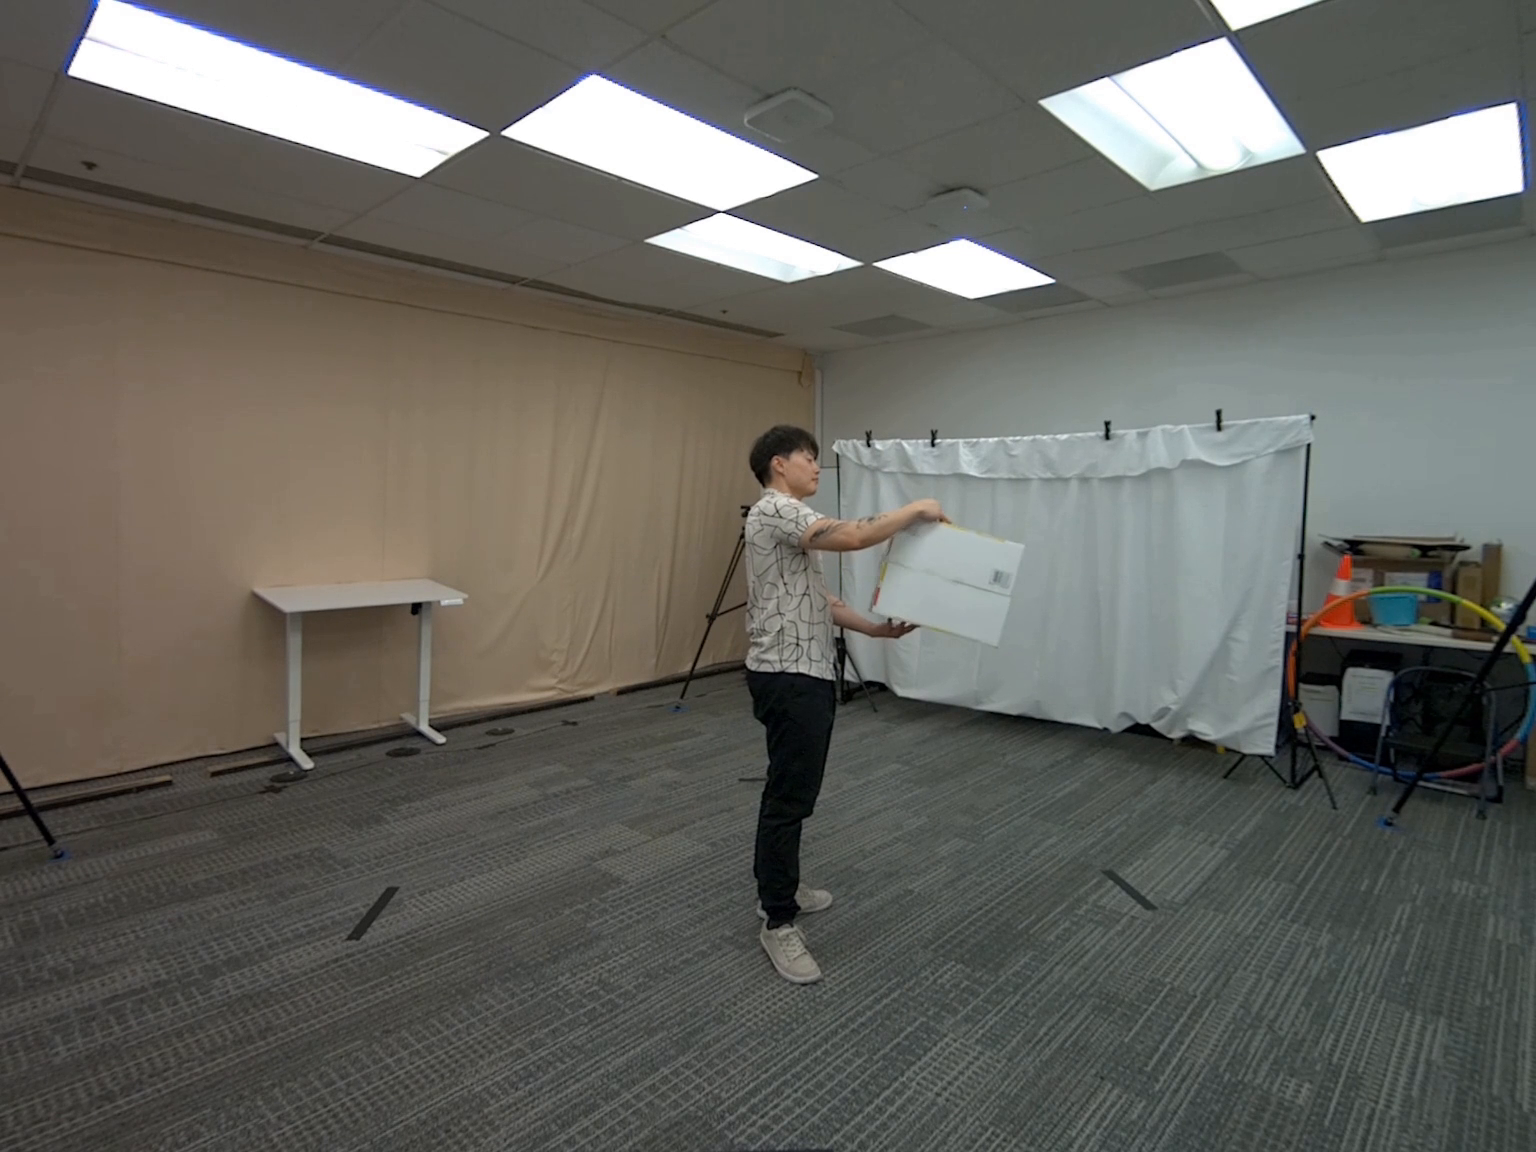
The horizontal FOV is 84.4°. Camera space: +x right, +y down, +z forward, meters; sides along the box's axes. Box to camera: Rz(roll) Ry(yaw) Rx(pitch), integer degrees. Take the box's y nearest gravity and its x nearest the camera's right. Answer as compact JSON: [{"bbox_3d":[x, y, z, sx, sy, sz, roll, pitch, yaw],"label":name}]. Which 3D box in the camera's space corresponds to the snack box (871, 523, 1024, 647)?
[{"bbox_3d":[0.580,0.013,2.734,0.408,0.340,0.204,15,2,5],"label":"snack box"}]
